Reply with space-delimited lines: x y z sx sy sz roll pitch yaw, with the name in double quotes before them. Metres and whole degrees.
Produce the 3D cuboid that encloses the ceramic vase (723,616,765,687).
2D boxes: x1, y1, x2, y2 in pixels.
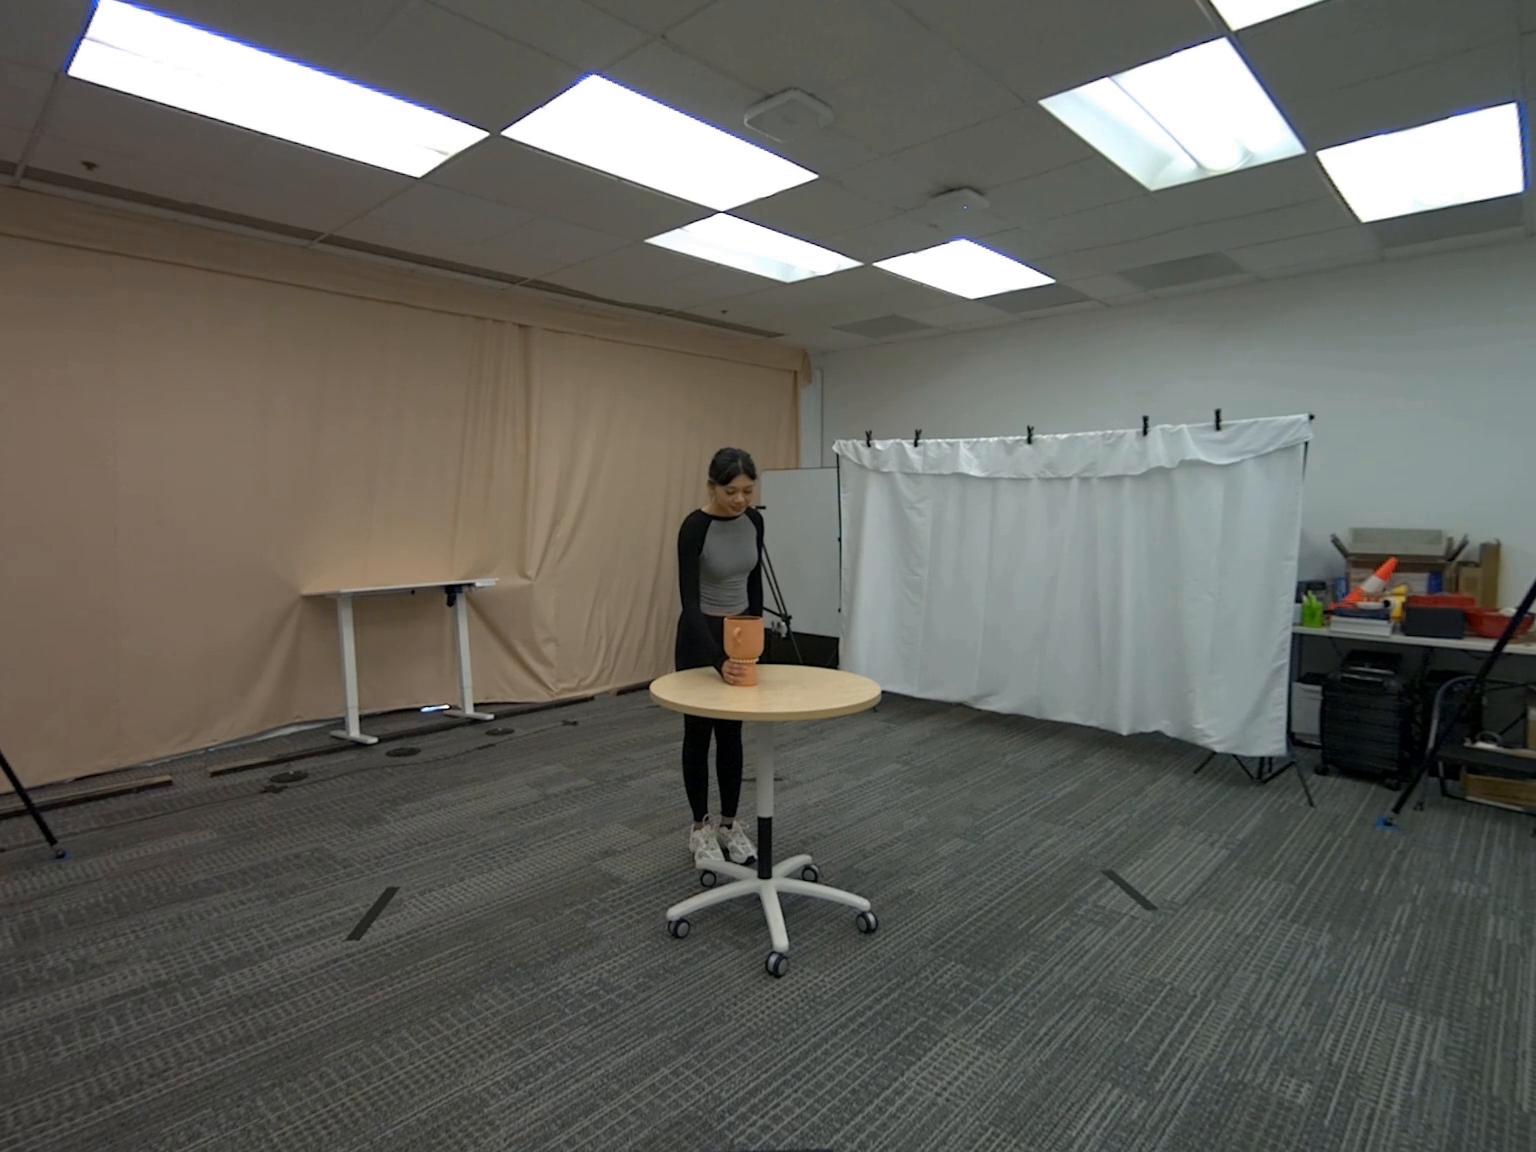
"ceramic vase" -0.078 0.251 2.838 0.154 0.219 0.139 -2 3 -32
